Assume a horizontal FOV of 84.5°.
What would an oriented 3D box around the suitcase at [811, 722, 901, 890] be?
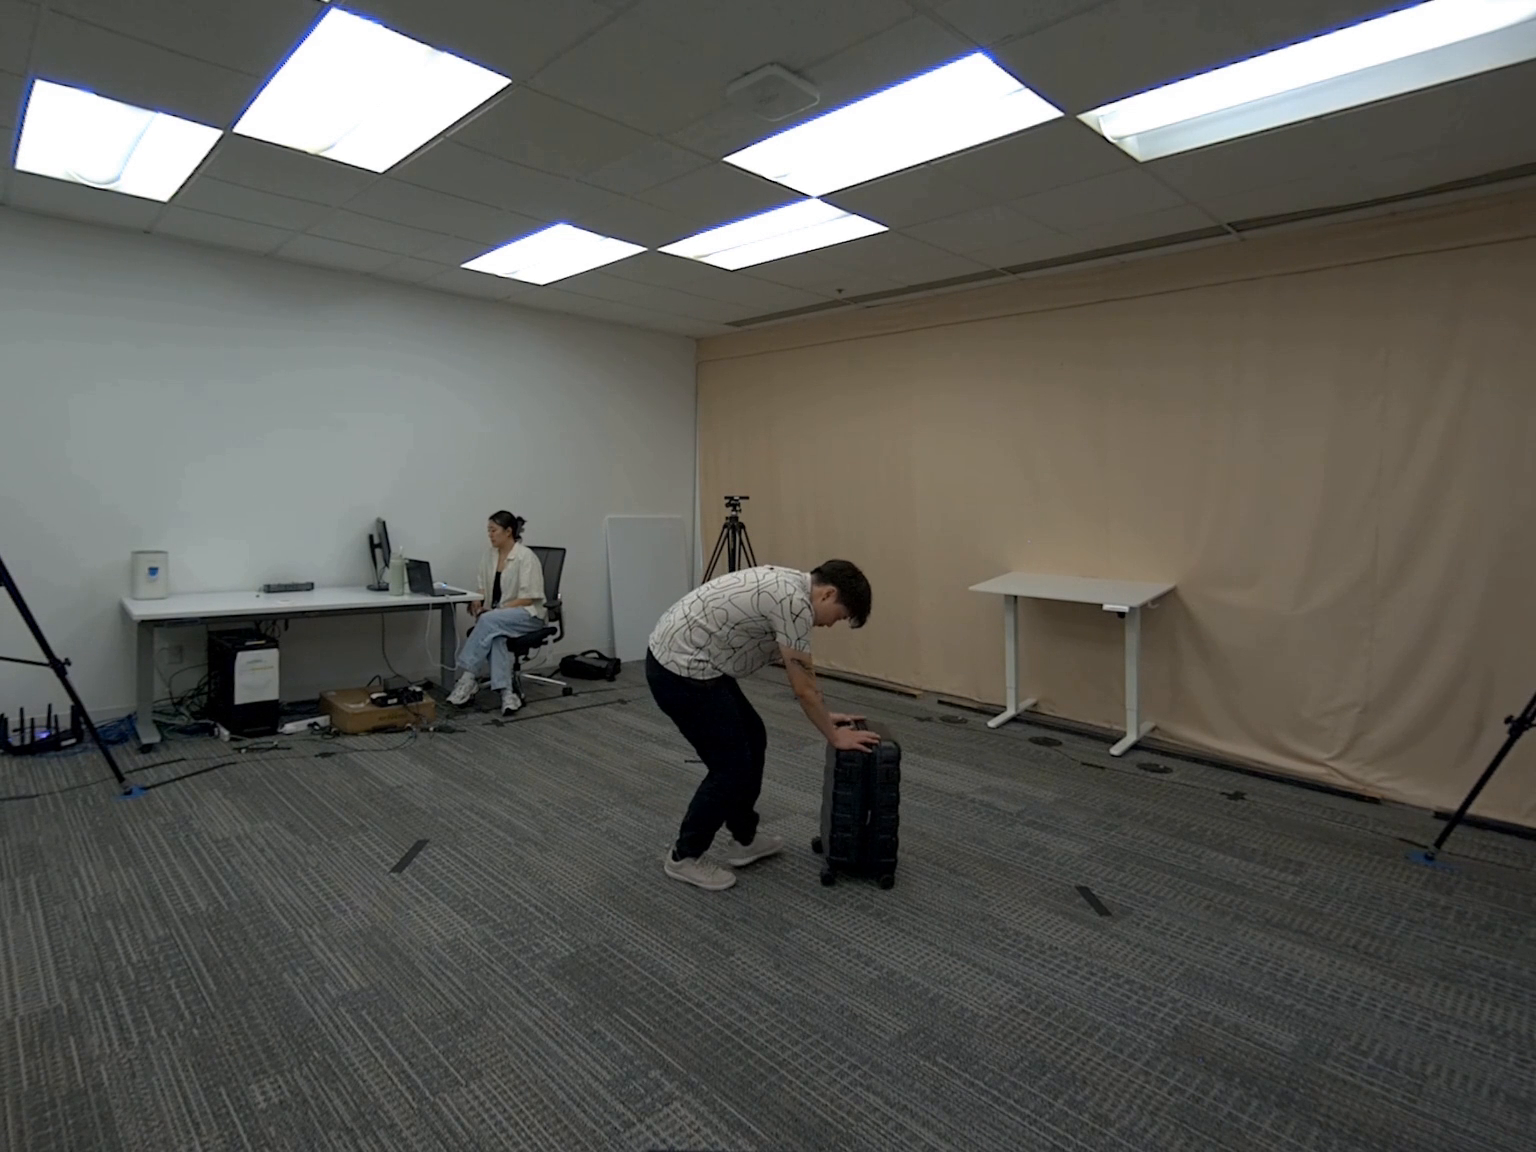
[{"bbox_3d":[0.335,0.837,3.182,0.249,0.548,0.375,3,3,1],"label":"suitcase"}]
